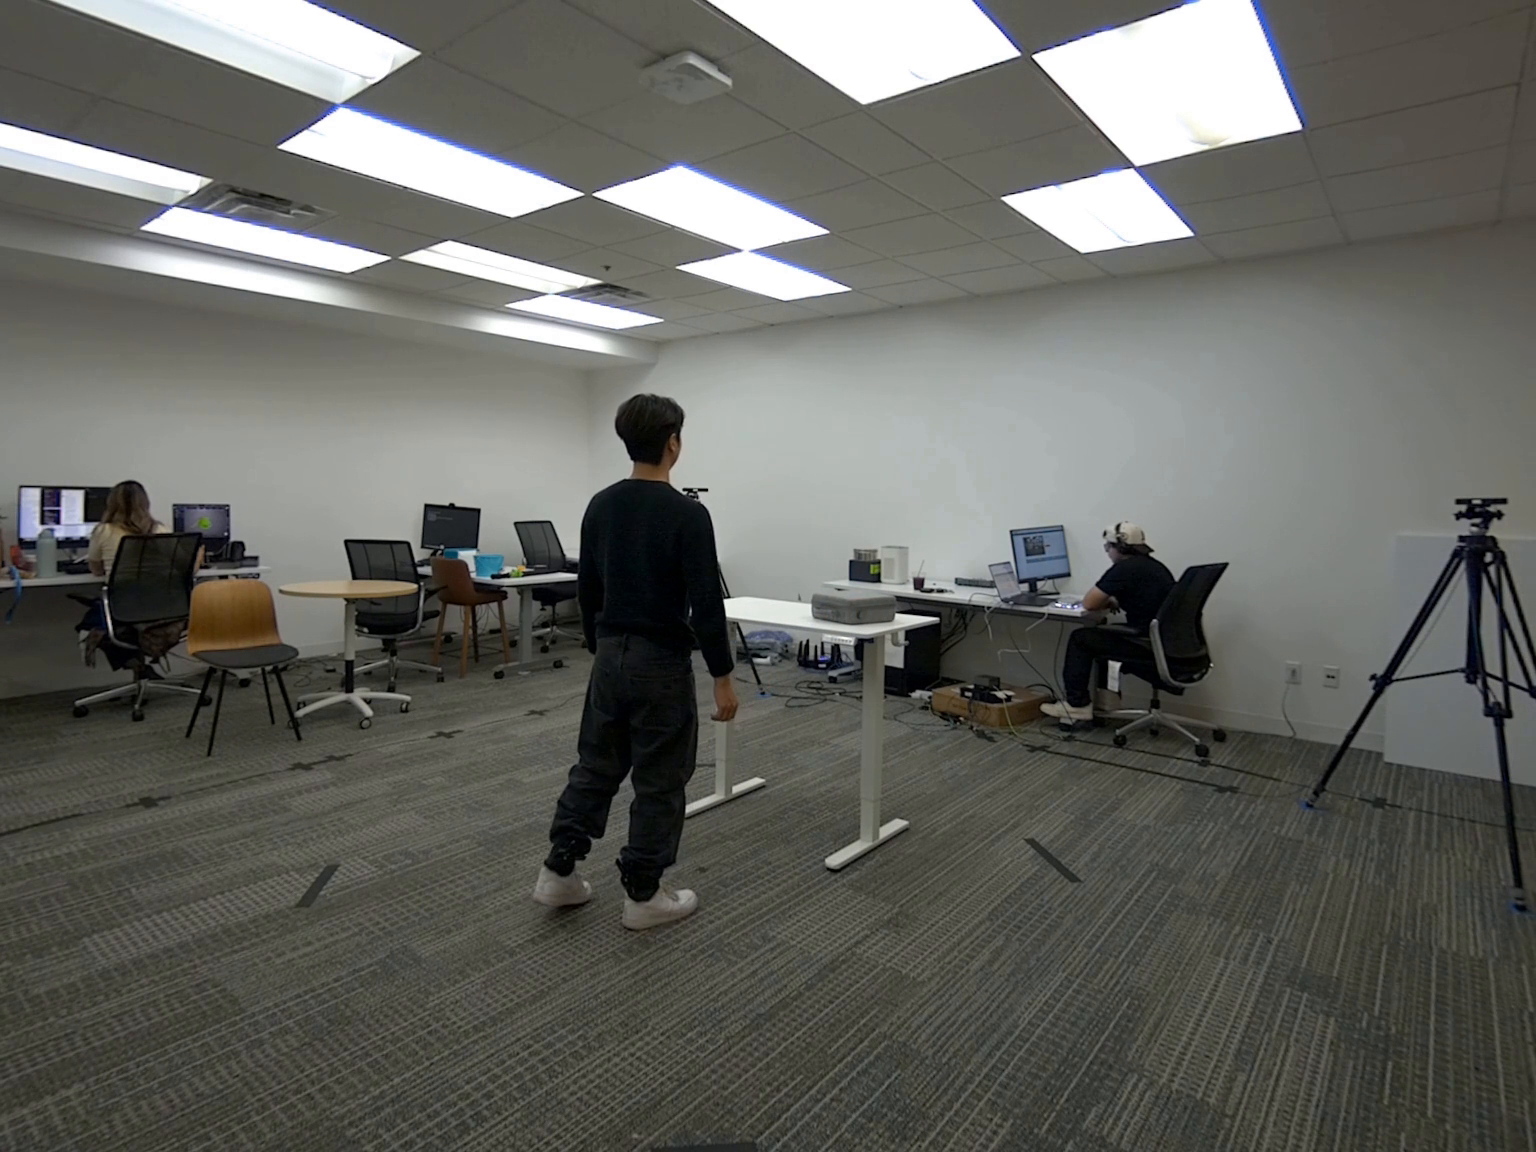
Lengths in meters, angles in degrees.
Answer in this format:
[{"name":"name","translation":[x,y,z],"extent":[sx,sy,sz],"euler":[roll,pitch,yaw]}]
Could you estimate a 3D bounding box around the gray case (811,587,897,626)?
[{"name":"gray case","translation":[0.330,0.117,3.368],"extent":[0.253,0.104,0.265],"euler":[-3,7,-34]}]
